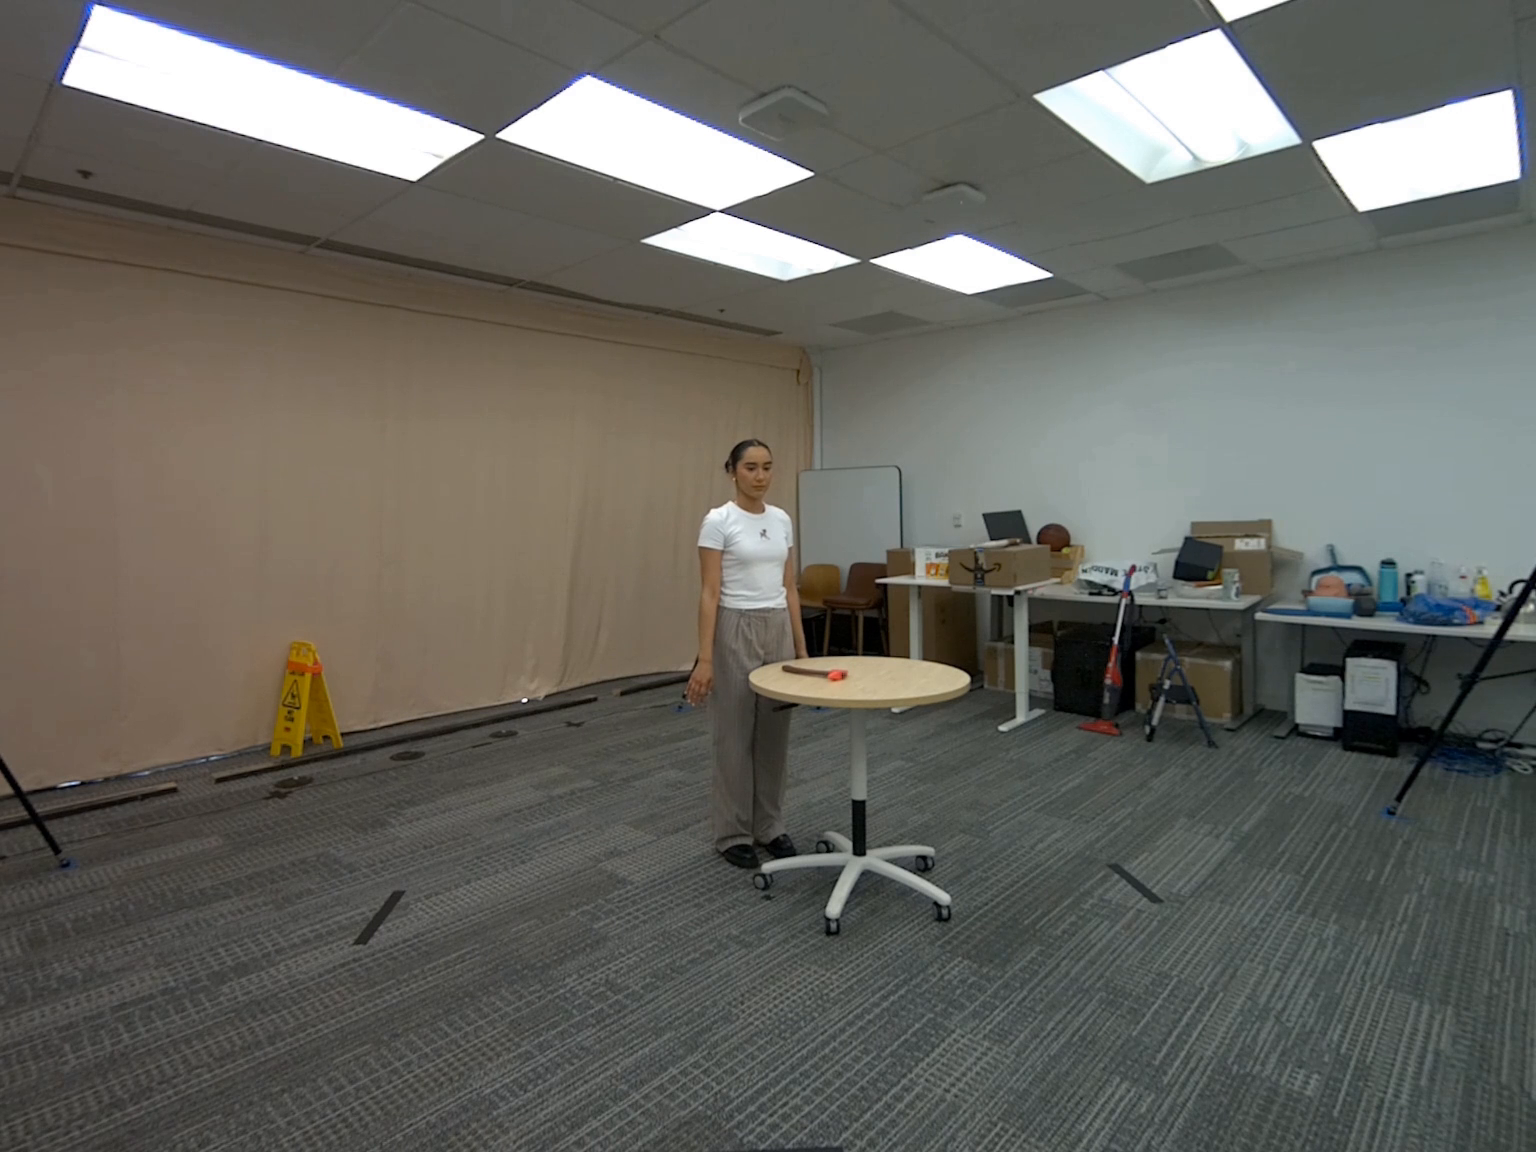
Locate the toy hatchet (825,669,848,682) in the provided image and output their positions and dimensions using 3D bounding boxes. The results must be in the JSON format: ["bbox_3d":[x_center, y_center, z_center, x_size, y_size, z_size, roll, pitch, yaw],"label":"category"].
[{"bbox_3d":[0.185,0.341,2.999,0.127,0.029,0.278,-4,4,-37],"label":"toy hatchet"}]
